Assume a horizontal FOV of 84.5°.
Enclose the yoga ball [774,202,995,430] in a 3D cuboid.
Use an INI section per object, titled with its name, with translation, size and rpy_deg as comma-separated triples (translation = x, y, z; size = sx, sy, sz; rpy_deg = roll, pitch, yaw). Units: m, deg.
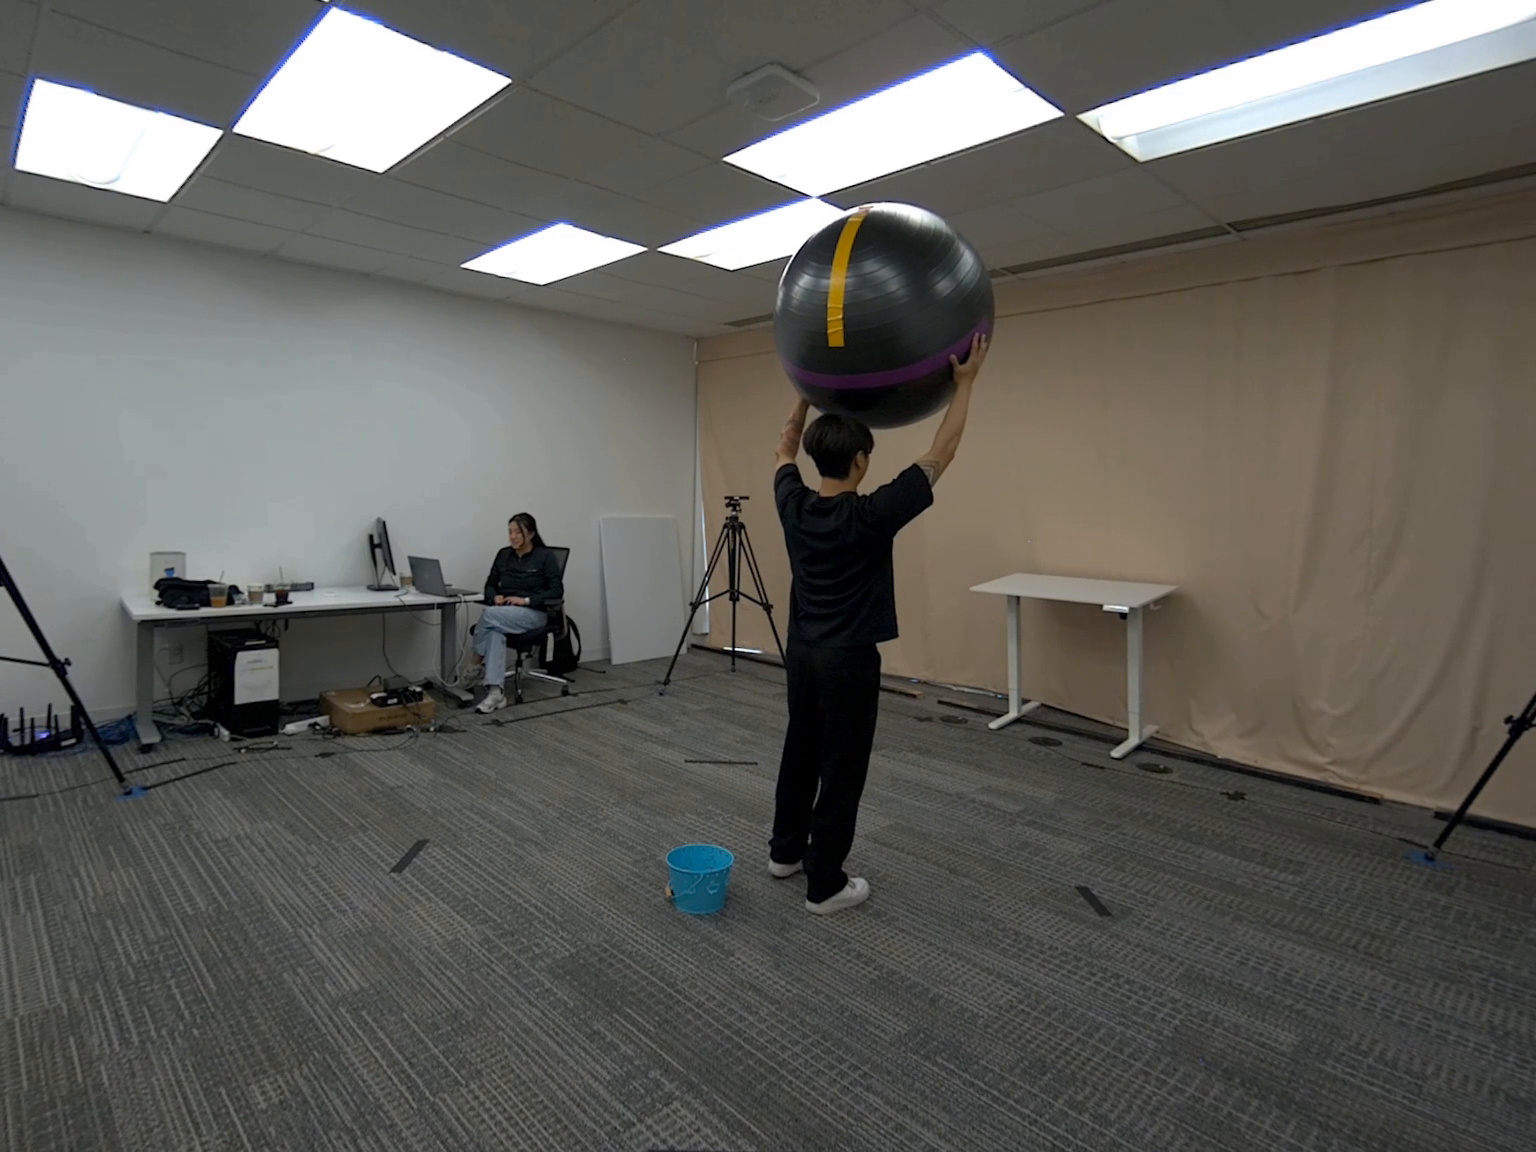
[yoga ball]
translation = 0.401, -0.895, 2.943
size = 0.757, 0.756, 0.761
rpy_deg = 1, 4, -1
